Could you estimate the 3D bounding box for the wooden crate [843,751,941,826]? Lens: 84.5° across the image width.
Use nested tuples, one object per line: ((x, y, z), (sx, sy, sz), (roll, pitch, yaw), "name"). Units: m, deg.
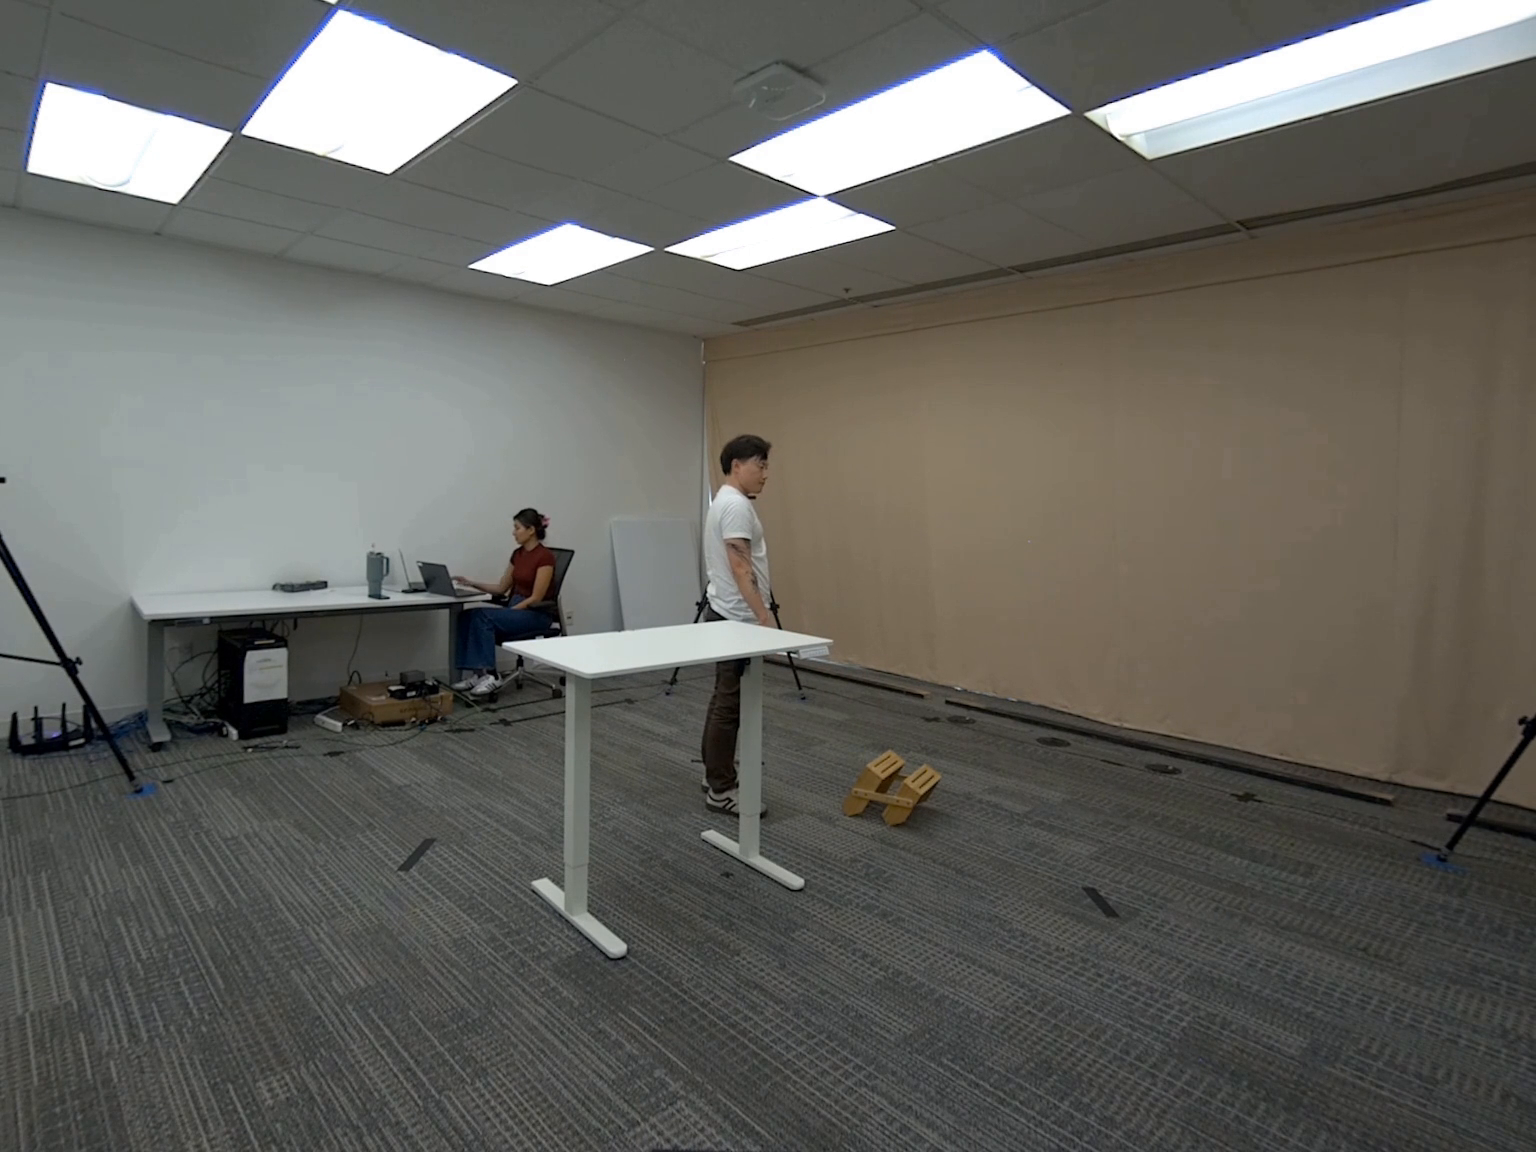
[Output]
((0.542, 0.972, 3.762), (0.280, 0.300, 0.318), (34, 18, 24), "wooden crate")
